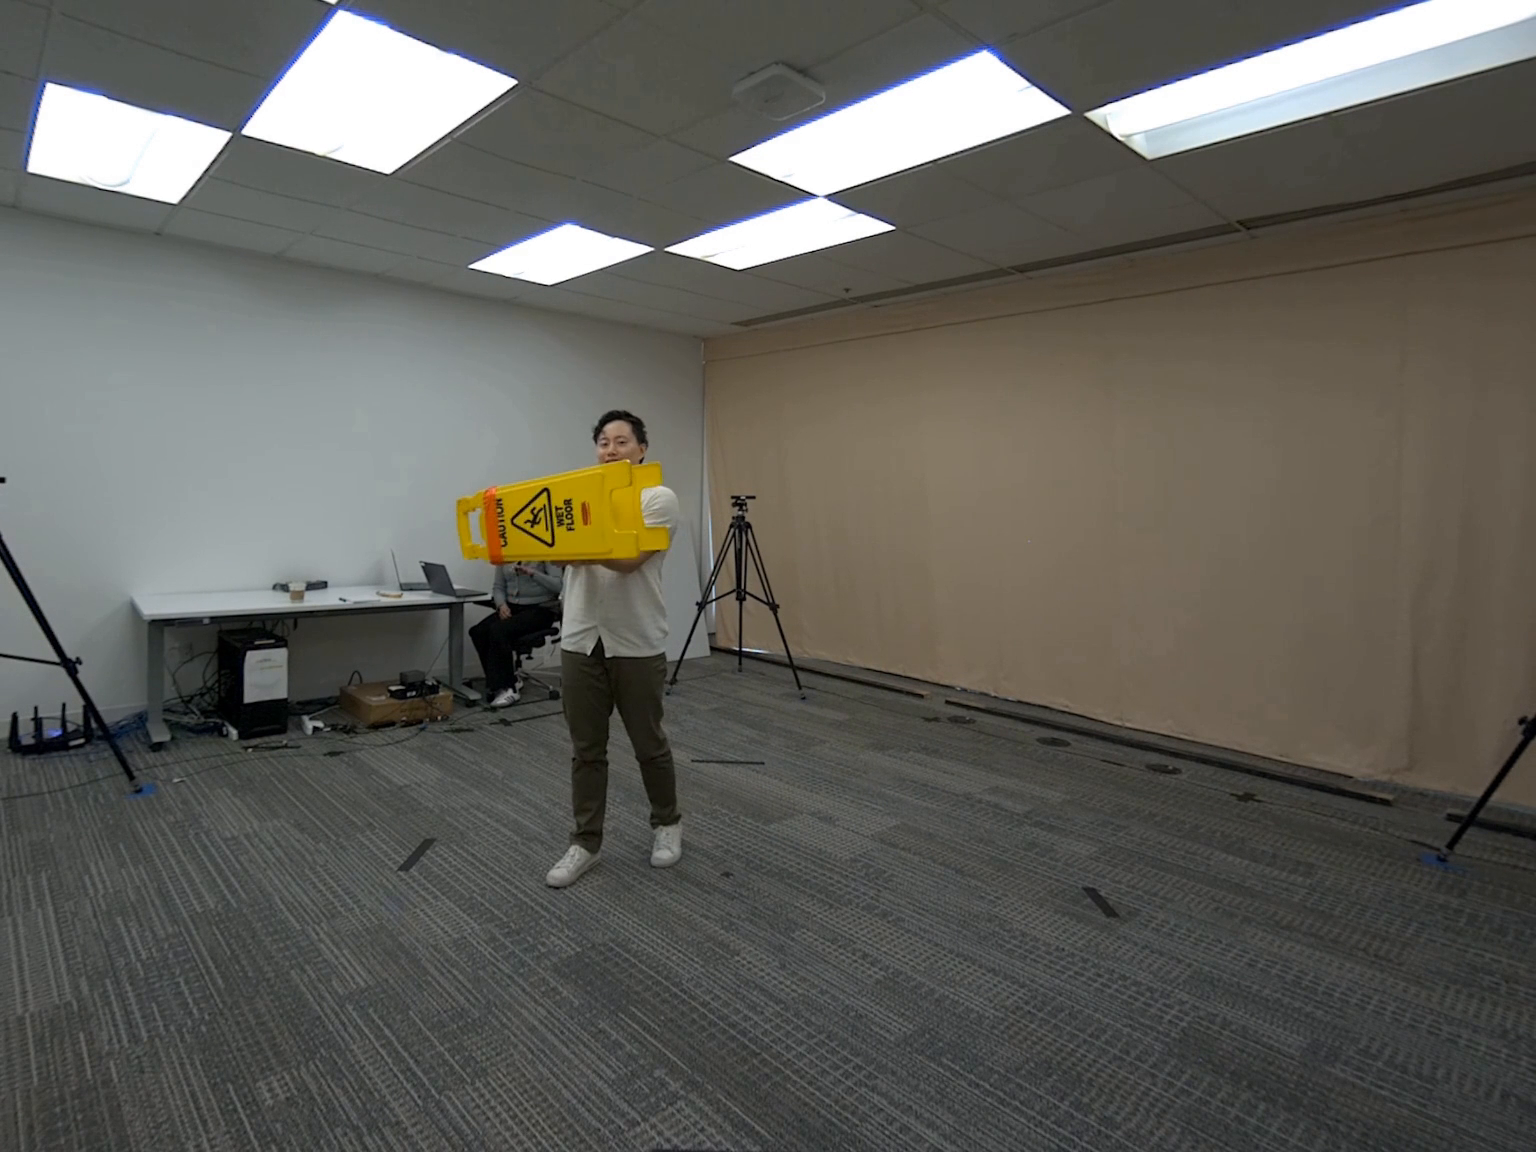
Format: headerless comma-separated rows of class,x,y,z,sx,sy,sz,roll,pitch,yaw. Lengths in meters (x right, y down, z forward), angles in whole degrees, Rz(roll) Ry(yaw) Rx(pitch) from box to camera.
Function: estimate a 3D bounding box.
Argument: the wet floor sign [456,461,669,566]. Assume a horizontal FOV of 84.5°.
wet floor sign,-0.677,-0.172,2.590,0.652,0.282,0.287,-6,2,13
